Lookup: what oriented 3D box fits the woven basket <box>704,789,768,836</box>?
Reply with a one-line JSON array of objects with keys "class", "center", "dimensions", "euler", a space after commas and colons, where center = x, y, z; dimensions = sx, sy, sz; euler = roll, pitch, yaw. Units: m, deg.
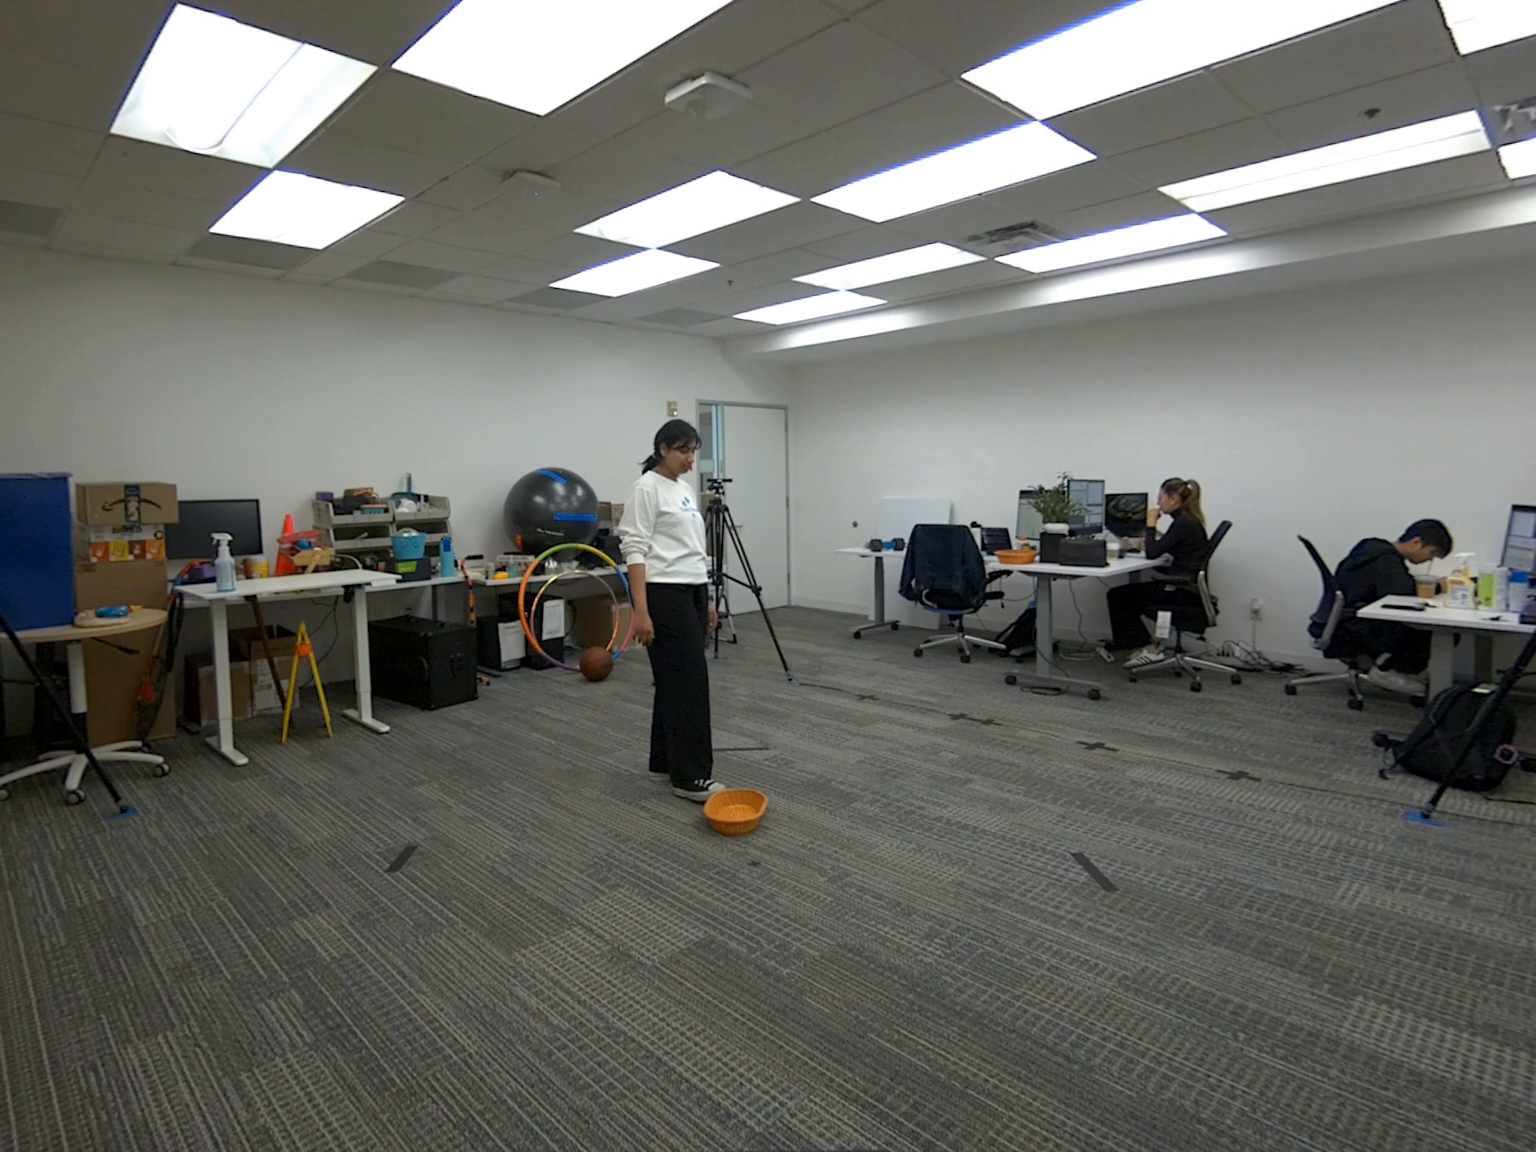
[{"class": "woven basket", "center": [-0.134, 0.962, 3.493], "dimensions": [0.256, 0.073, 0.347], "euler": [1, 7, 13]}]
